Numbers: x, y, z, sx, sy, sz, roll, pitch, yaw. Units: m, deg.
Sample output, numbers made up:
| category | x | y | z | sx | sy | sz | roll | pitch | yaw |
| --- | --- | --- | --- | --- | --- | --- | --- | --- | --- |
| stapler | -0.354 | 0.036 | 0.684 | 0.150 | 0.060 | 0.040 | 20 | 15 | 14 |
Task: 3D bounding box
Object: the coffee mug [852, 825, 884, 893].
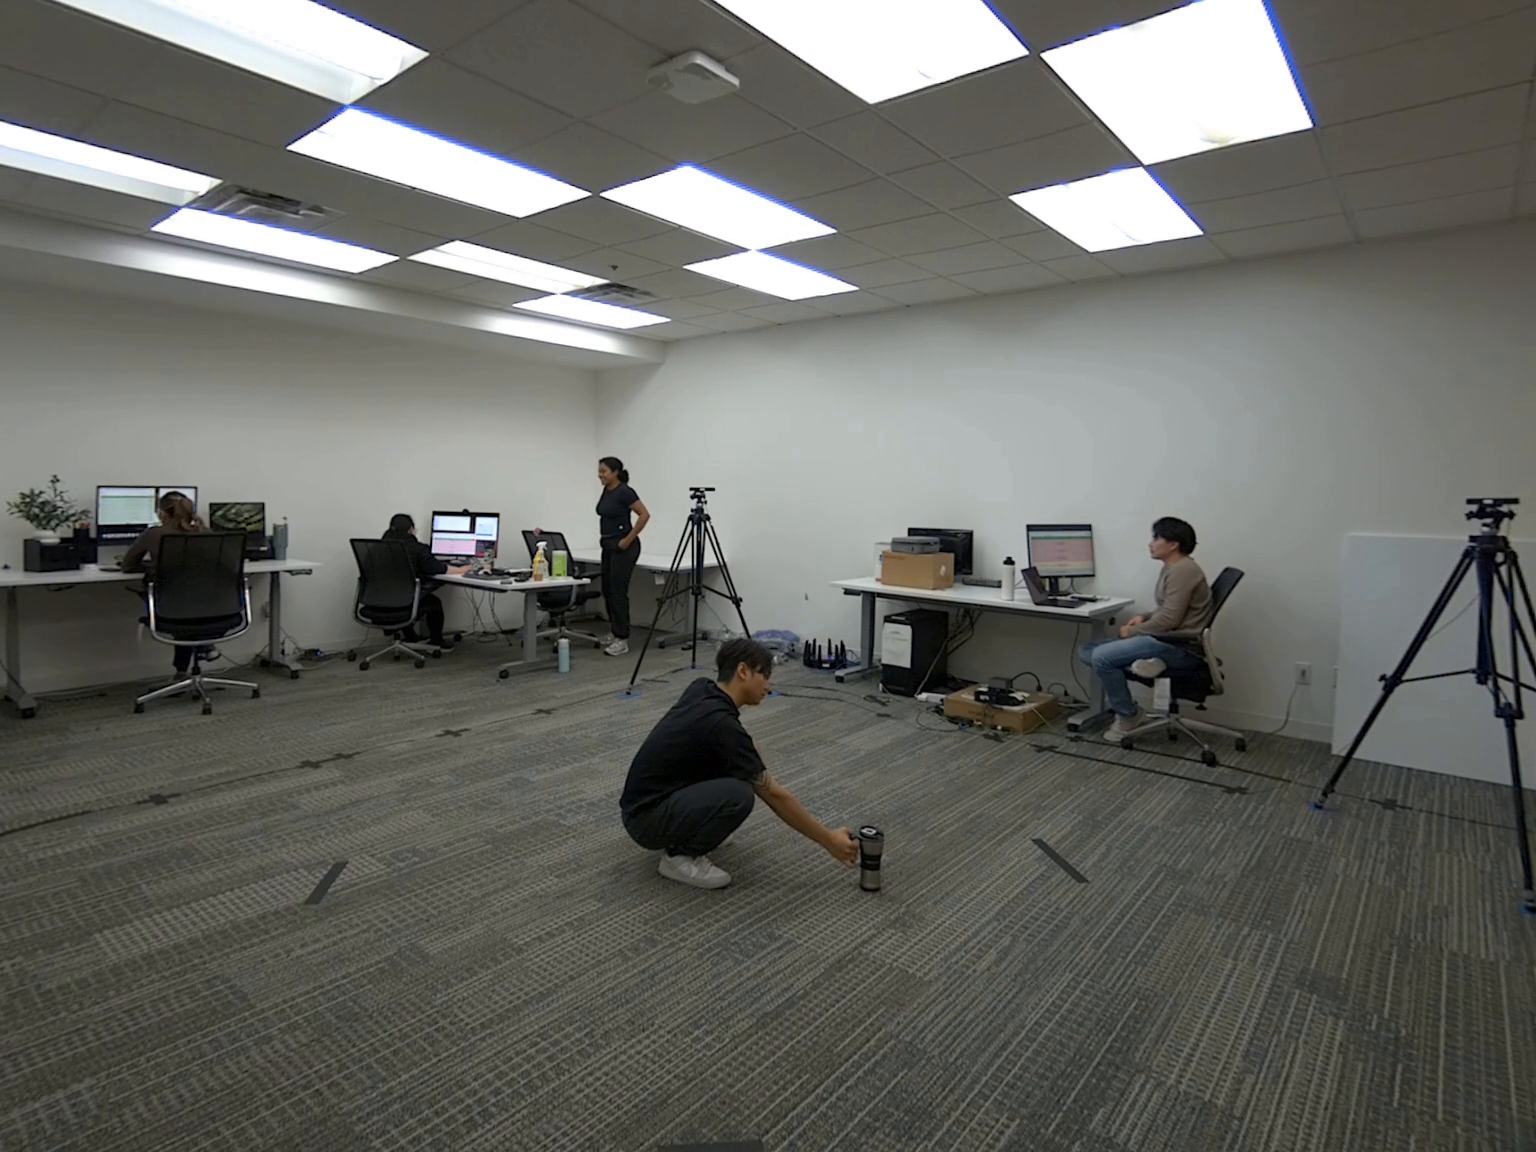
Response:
| category | x | y | z | sx | sy | sz | roll | pitch | yaw |
| --- | --- | --- | --- | --- | --- | --- | --- | --- | --- |
| coffee mug | 0.342 | 0.995 | 2.997 | 0.126 | 0.201 | 0.085 | 10 | 11 | 39 |
